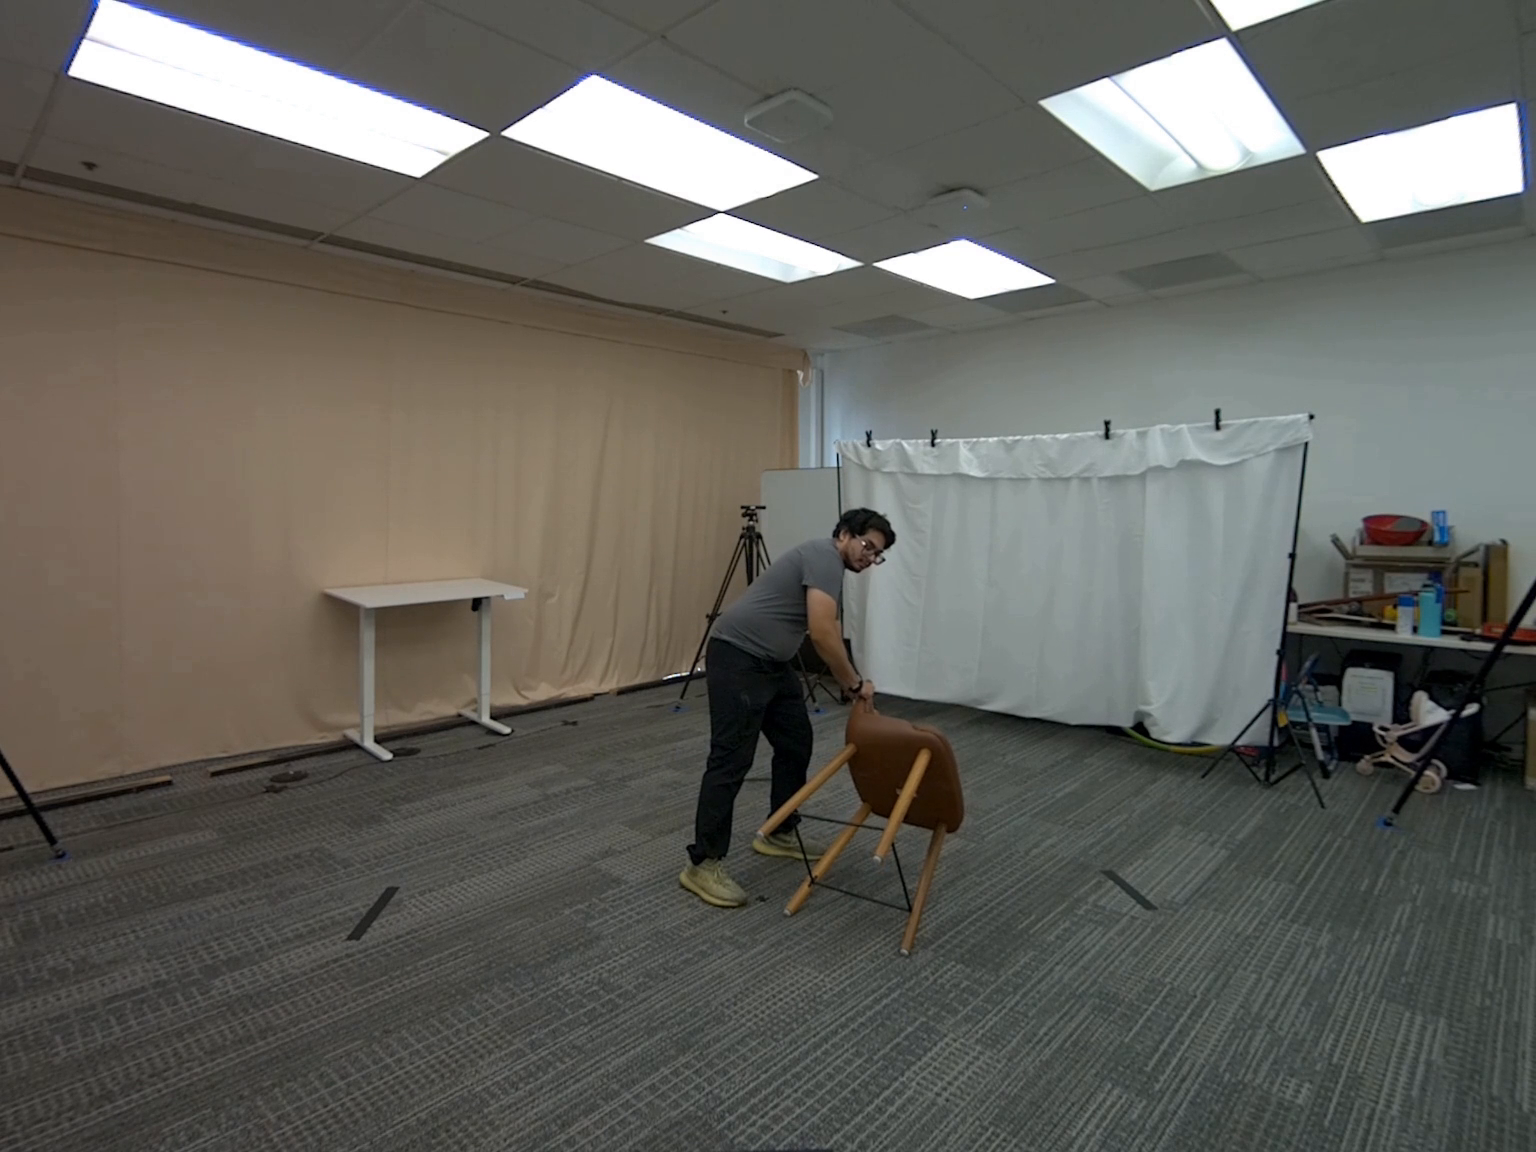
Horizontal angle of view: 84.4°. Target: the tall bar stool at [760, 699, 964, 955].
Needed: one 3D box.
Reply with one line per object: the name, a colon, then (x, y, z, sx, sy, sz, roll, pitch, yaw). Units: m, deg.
tall bar stool: (0.414, 0.789, 2.964, 0.481, 0.448, 0.880, -1, 28, 34)
